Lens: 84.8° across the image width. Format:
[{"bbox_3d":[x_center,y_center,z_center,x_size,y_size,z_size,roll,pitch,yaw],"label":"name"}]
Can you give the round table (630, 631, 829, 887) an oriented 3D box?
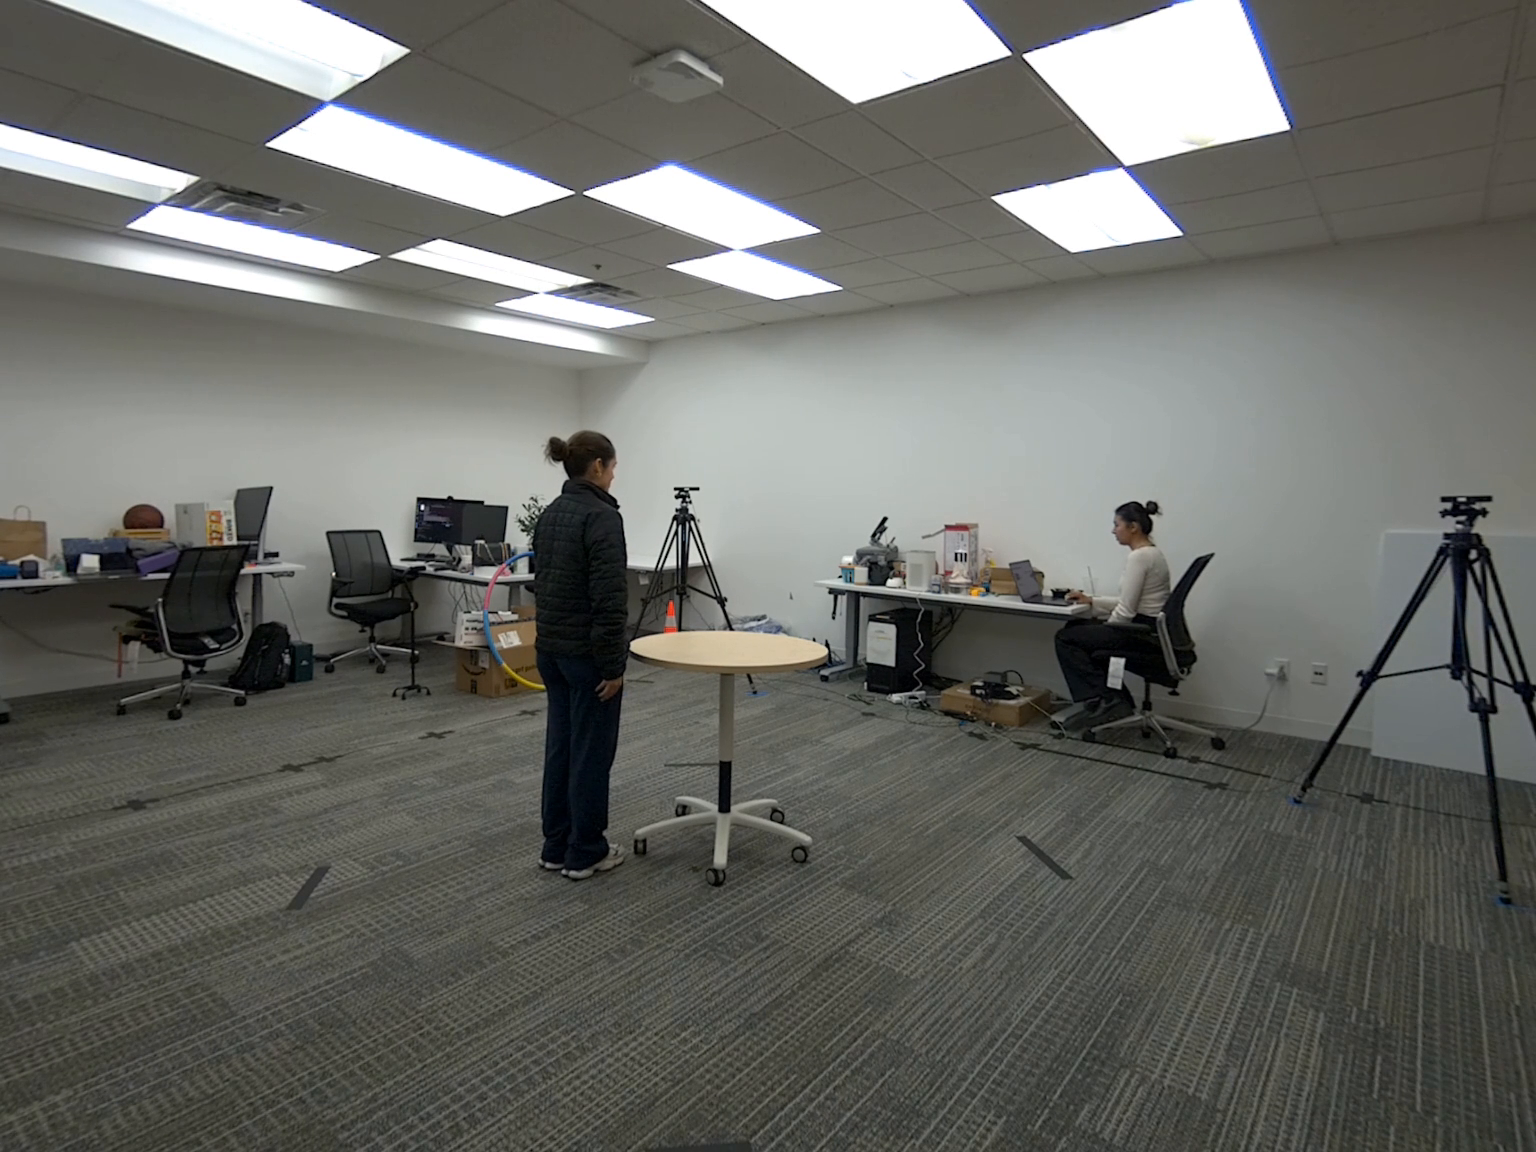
[{"bbox_3d":[-0.138,0.659,3.286,0.784,0.784,0.789,1,4,-2],"label":"round table"}]
